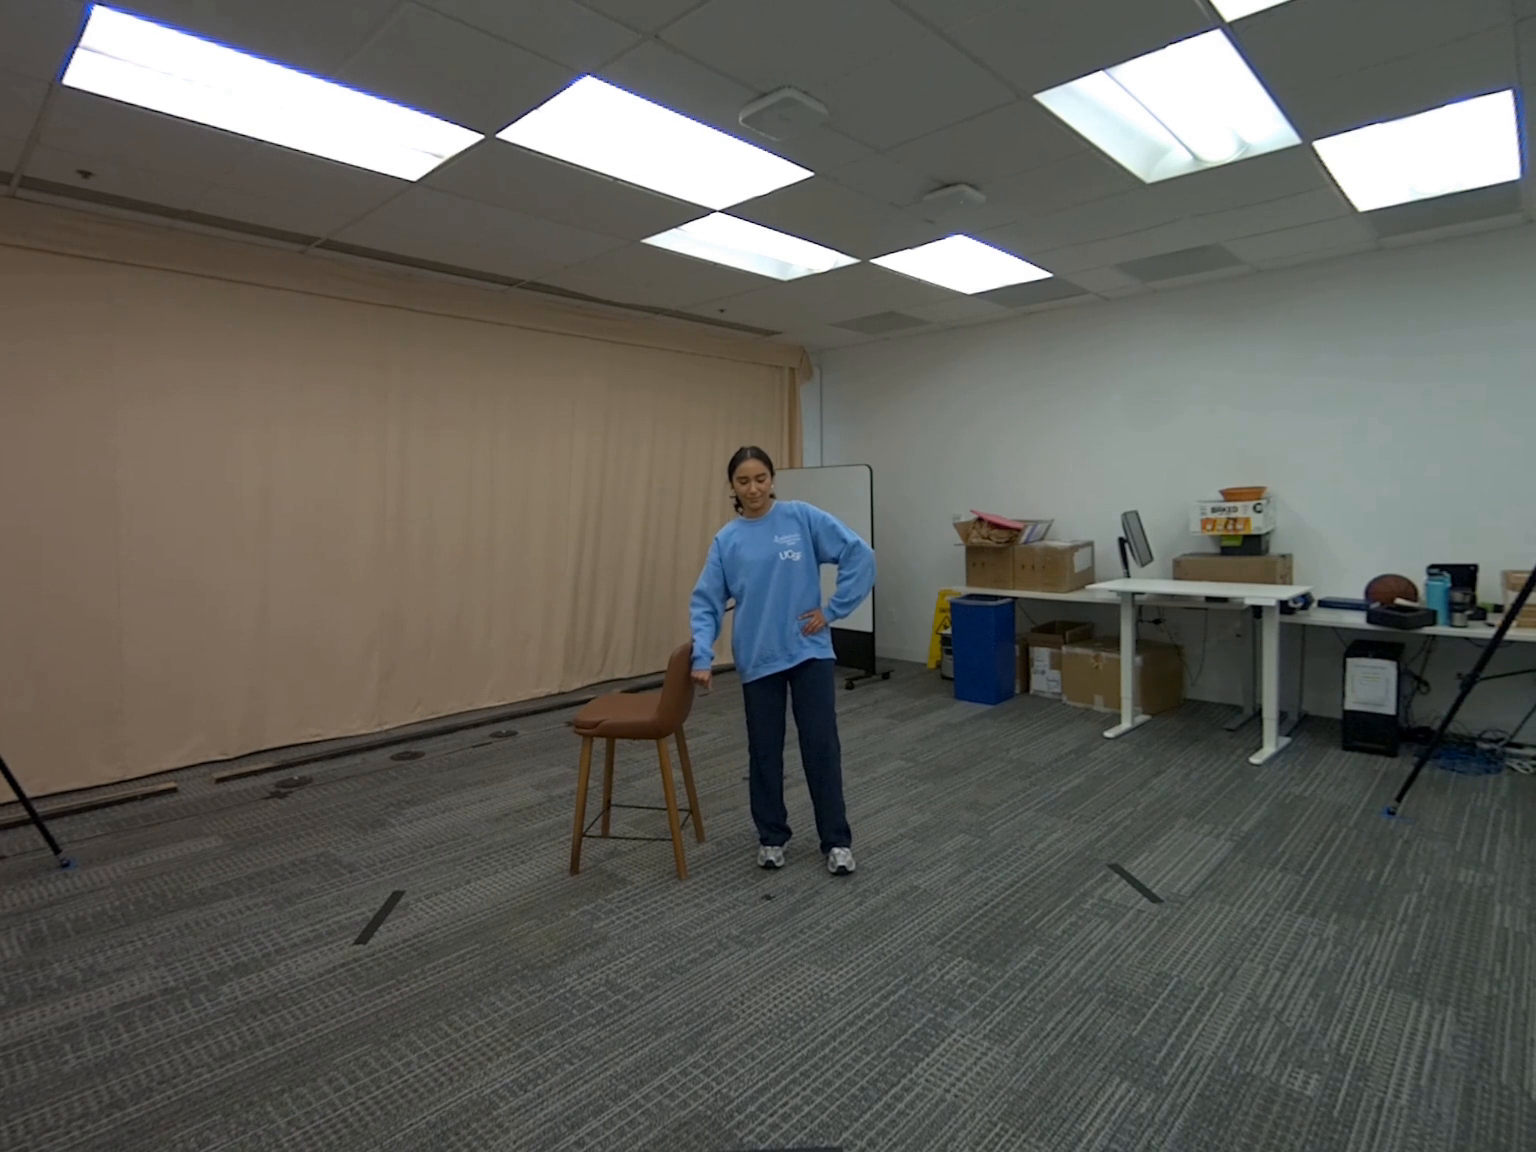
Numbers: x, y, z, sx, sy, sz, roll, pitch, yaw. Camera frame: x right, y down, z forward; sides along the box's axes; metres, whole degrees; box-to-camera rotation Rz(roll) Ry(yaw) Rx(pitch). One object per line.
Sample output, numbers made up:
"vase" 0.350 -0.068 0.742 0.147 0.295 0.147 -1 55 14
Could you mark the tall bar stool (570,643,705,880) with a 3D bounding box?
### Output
"tall bar stool" -0.511 0.687 3.339 0.473 0.888 0.452 1 3 10
